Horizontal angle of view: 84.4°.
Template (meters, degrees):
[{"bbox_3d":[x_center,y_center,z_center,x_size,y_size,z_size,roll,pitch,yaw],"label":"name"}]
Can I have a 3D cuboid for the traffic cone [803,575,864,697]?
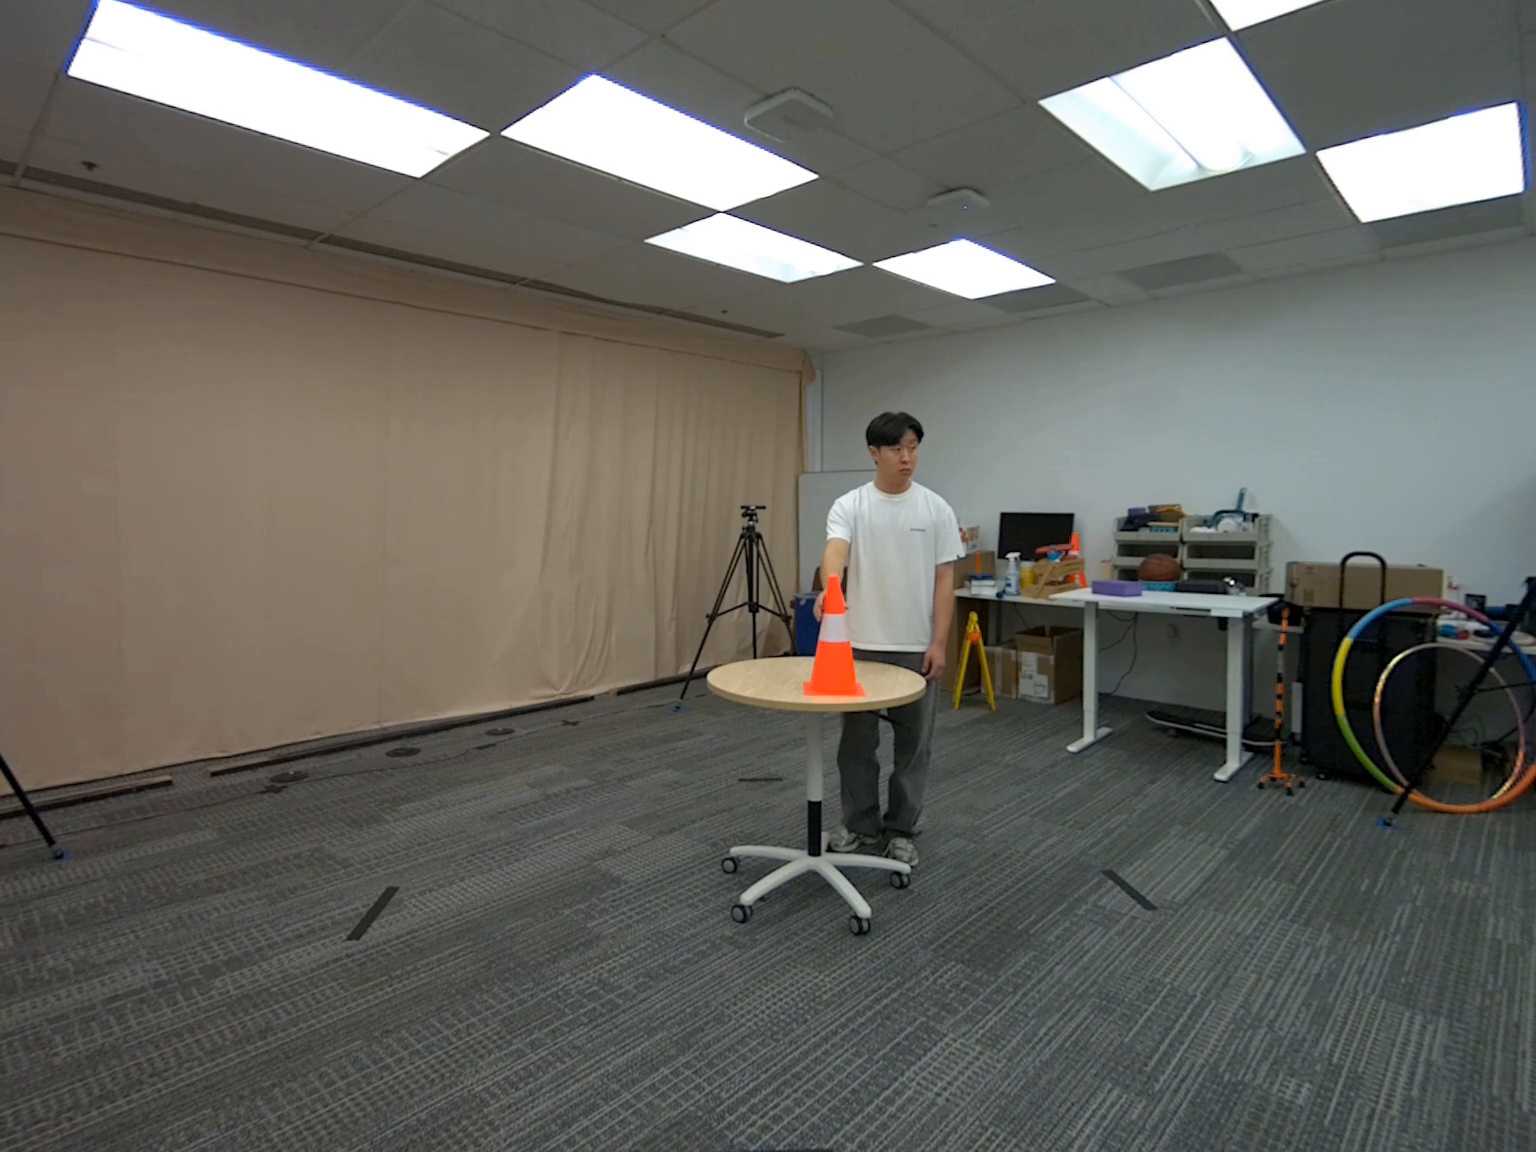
[{"bbox_3d":[0.227,0.192,2.786,0.206,0.383,0.203,0,3,3],"label":"traffic cone"}]
